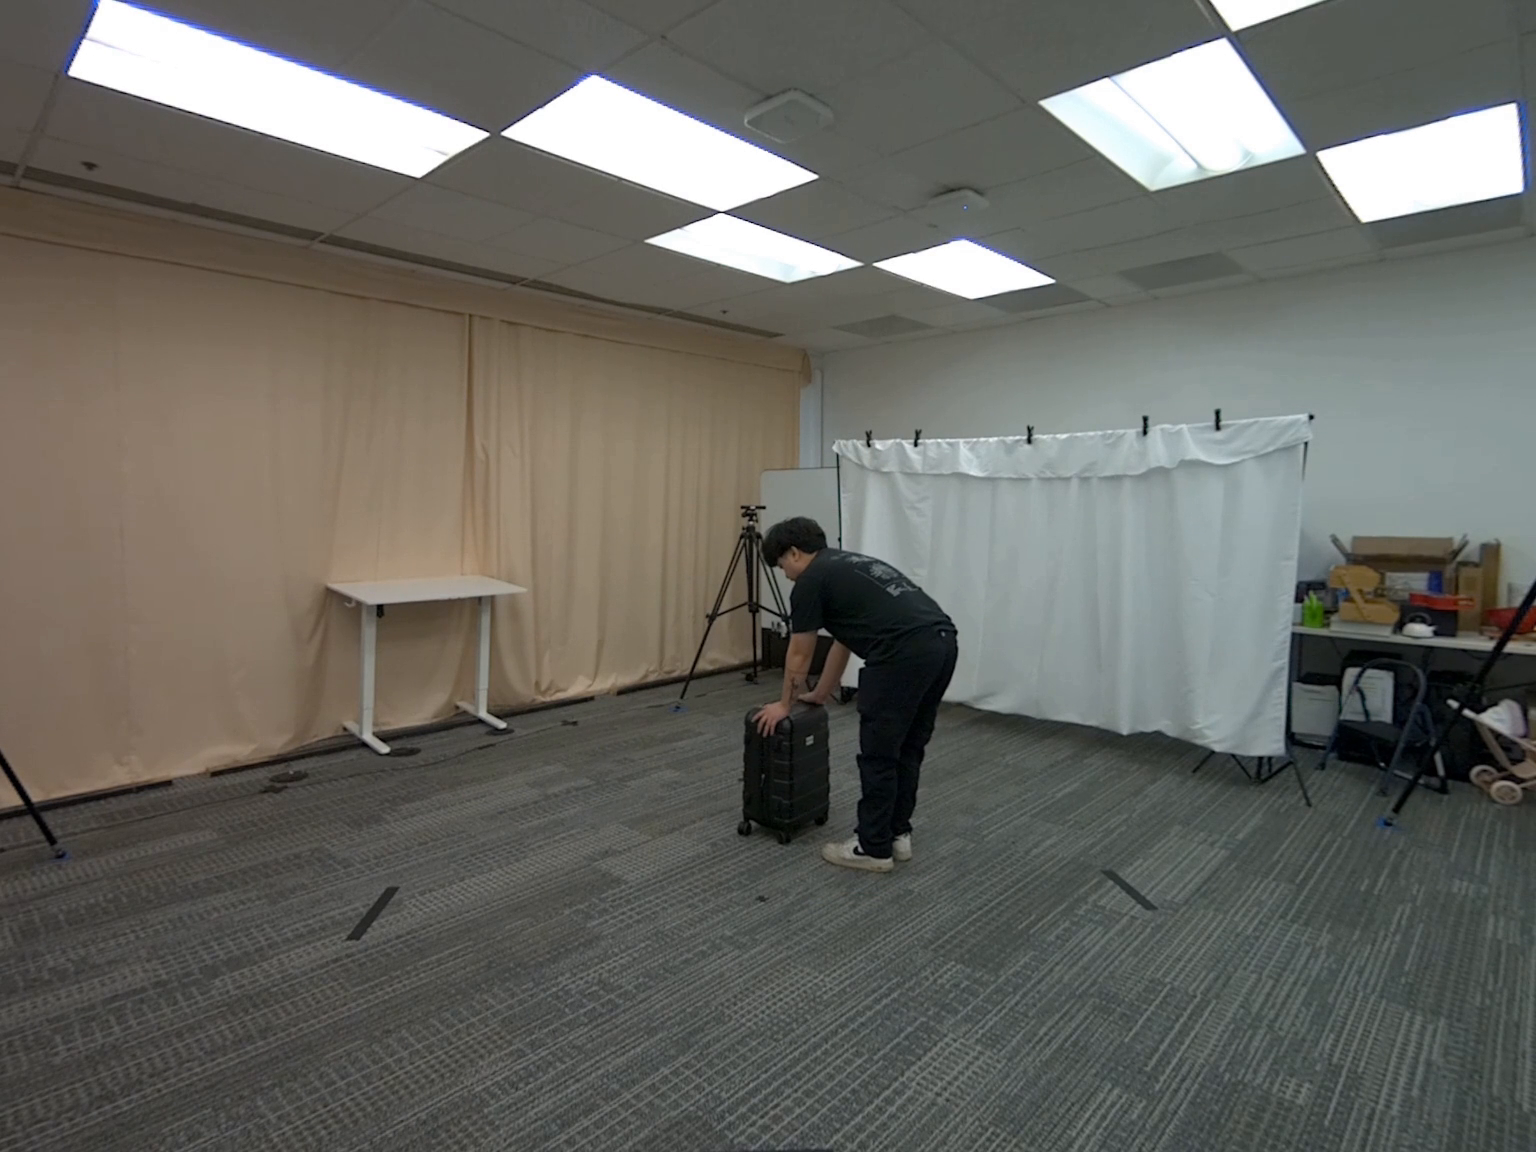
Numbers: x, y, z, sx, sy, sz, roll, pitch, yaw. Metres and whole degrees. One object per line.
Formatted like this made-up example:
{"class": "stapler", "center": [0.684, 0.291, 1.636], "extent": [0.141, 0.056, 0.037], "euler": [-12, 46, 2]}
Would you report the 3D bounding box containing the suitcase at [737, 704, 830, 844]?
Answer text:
{"class": "suitcase", "center": [0.077, 0.815, 3.627], "extent": [0.256, 0.548, 0.364], "euler": [3, 4, 38]}
